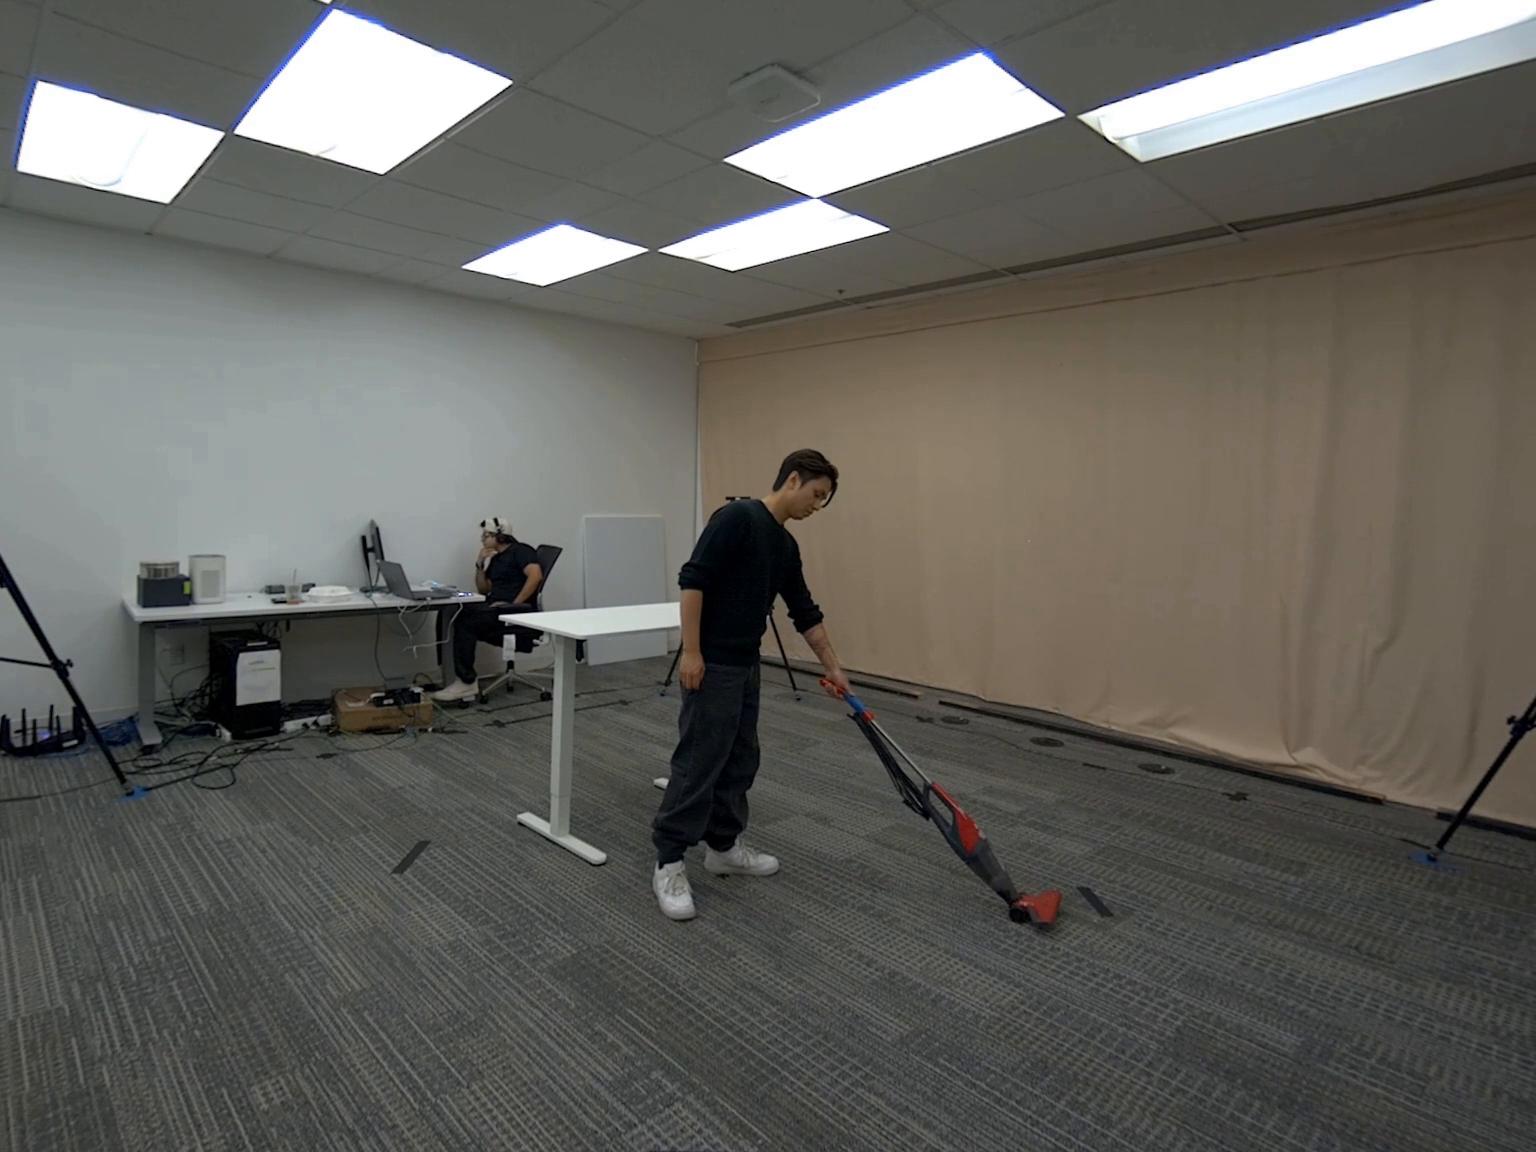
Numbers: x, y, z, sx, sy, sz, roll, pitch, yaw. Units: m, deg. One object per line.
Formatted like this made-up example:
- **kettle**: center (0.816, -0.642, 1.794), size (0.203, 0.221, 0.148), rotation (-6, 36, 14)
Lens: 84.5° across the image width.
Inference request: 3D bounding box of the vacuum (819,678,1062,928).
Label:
- **vacuum**: center (0.549, 0.771, 3.022), size (1.071, 0.144, 0.248), rotation (46, 19, 19)
